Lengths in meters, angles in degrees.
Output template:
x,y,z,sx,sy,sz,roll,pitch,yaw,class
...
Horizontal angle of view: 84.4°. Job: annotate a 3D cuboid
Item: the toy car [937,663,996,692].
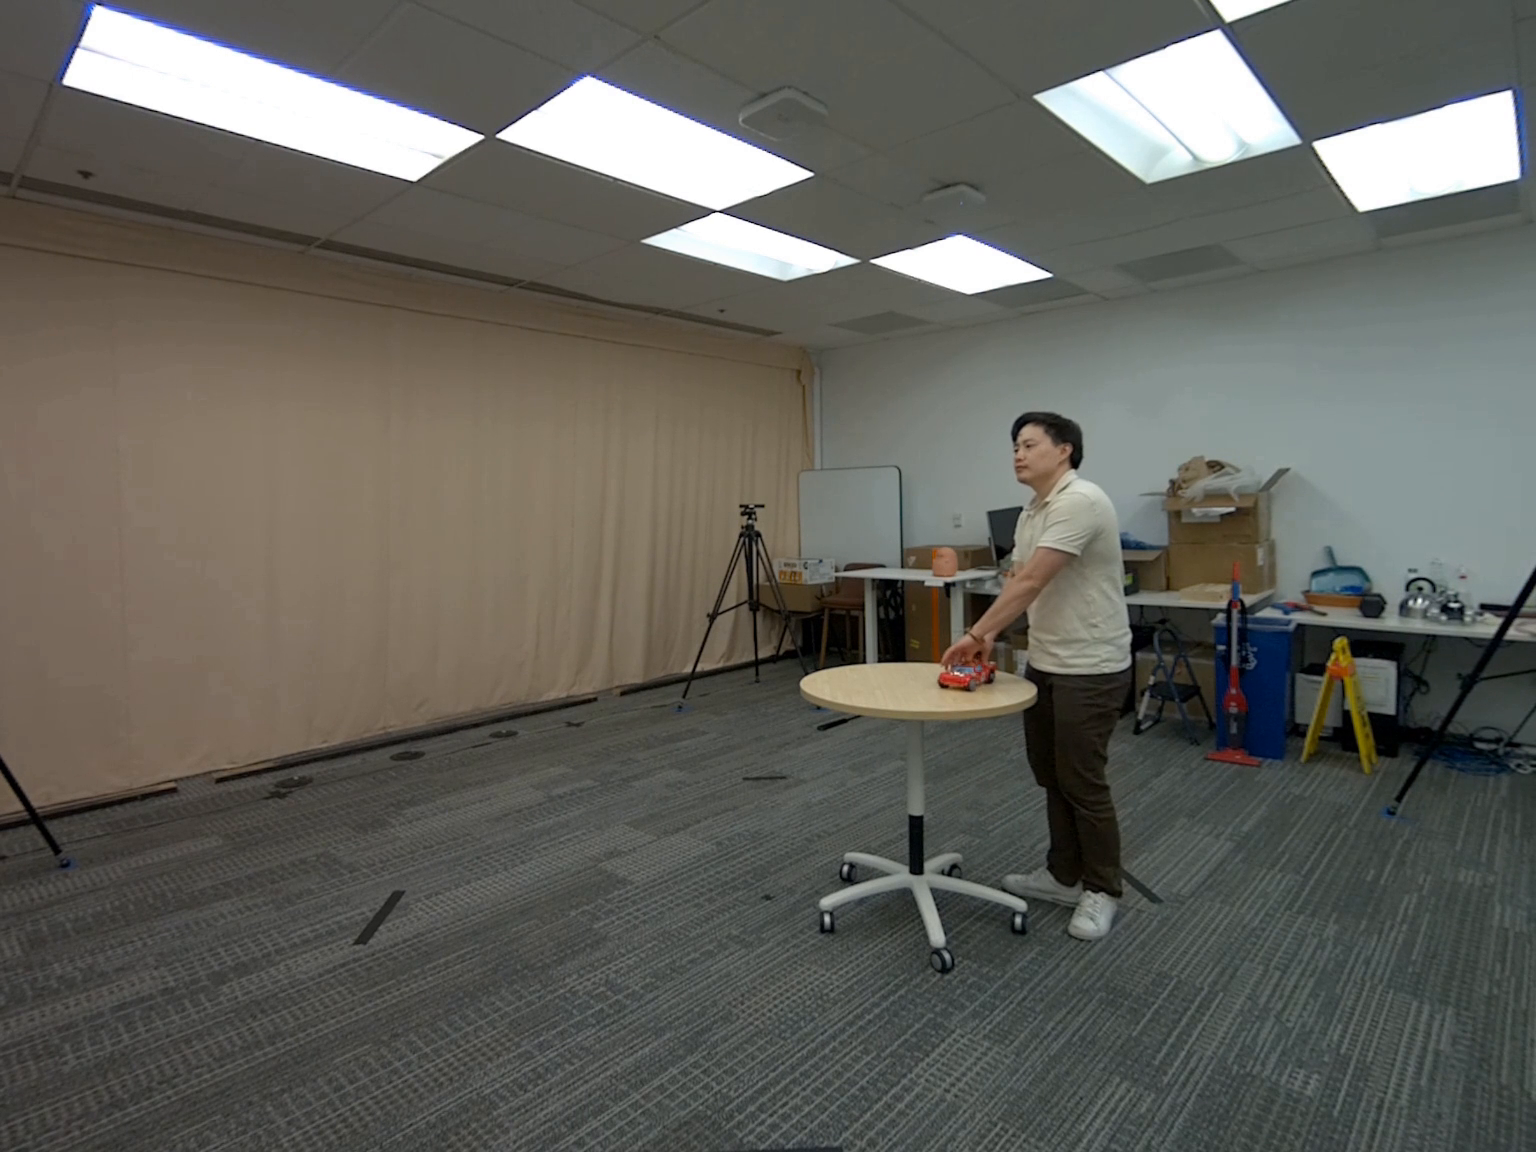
x,y,z,sx,sy,sz,roll,pitch,yaw,class
0.684,0.333,2.780,0.134,0.082,0.249,3,17,39,toy car
